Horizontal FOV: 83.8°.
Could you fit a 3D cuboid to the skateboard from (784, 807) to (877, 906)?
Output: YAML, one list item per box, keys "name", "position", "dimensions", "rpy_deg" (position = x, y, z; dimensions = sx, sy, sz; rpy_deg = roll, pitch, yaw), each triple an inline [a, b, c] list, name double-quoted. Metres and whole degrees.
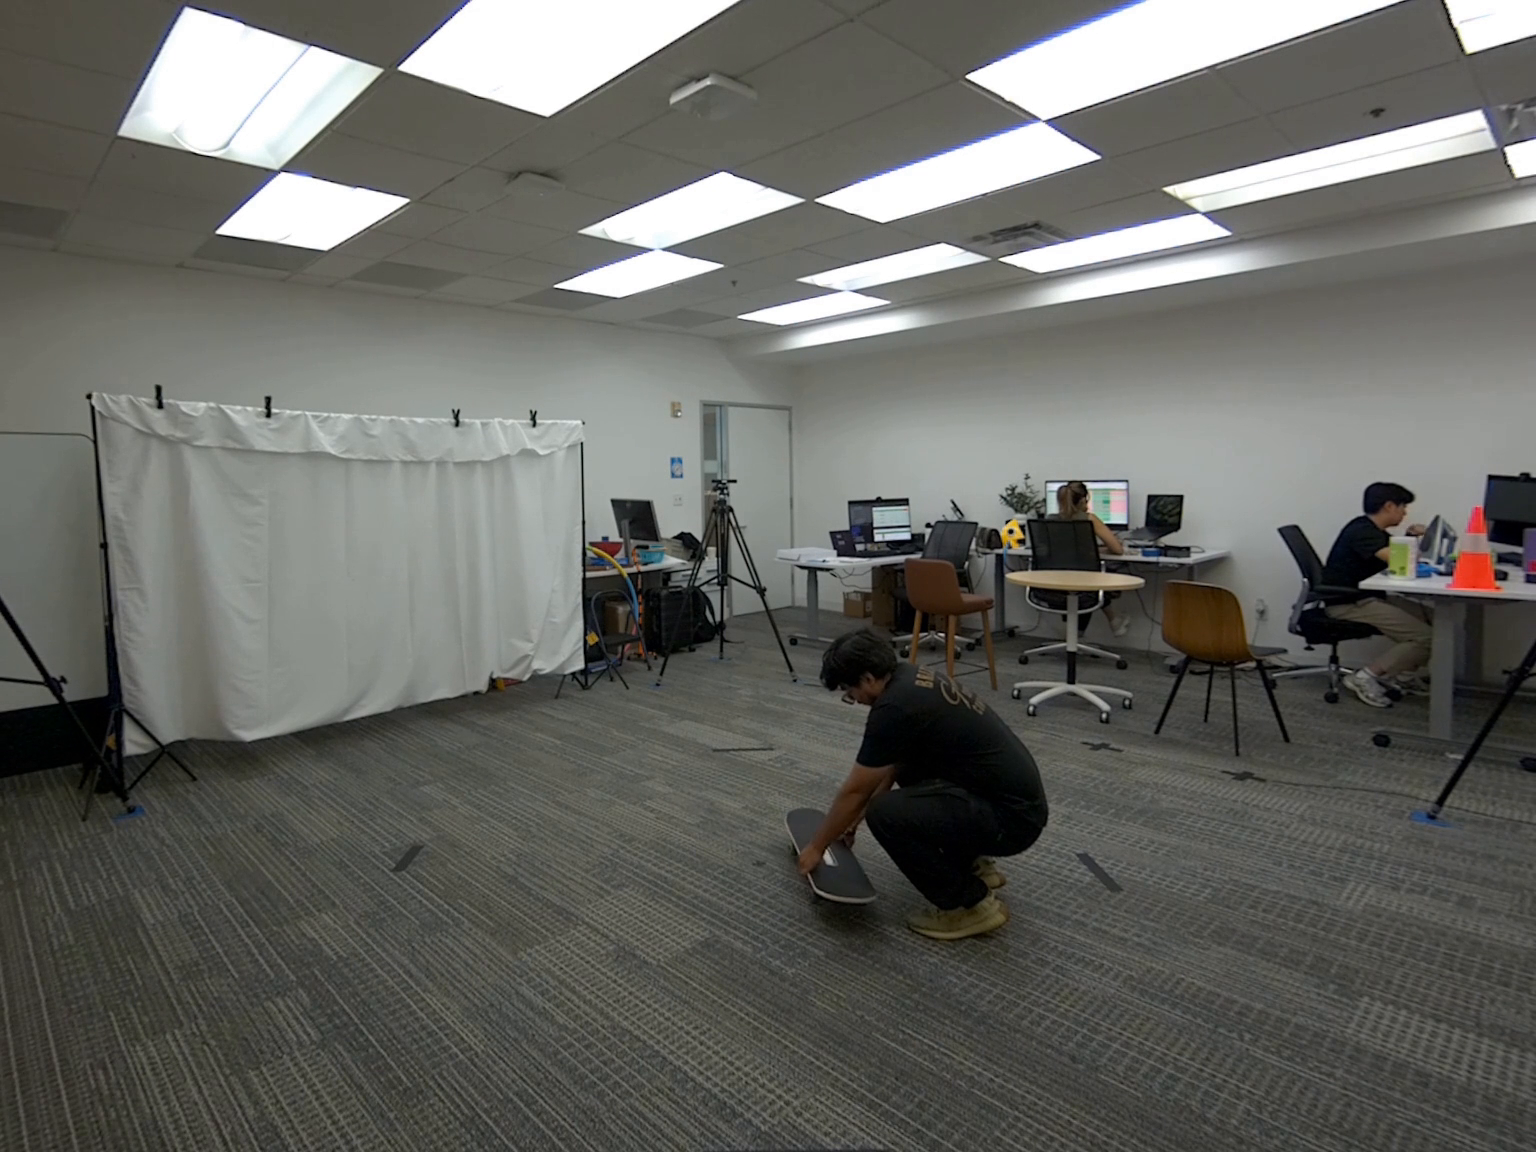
- name: "skateboard"
  position: [0.204, 0.983, 2.945]
  dimensions: [0.192, 0.110, 0.792]
  rpy_deg: [2, 4, -7]
